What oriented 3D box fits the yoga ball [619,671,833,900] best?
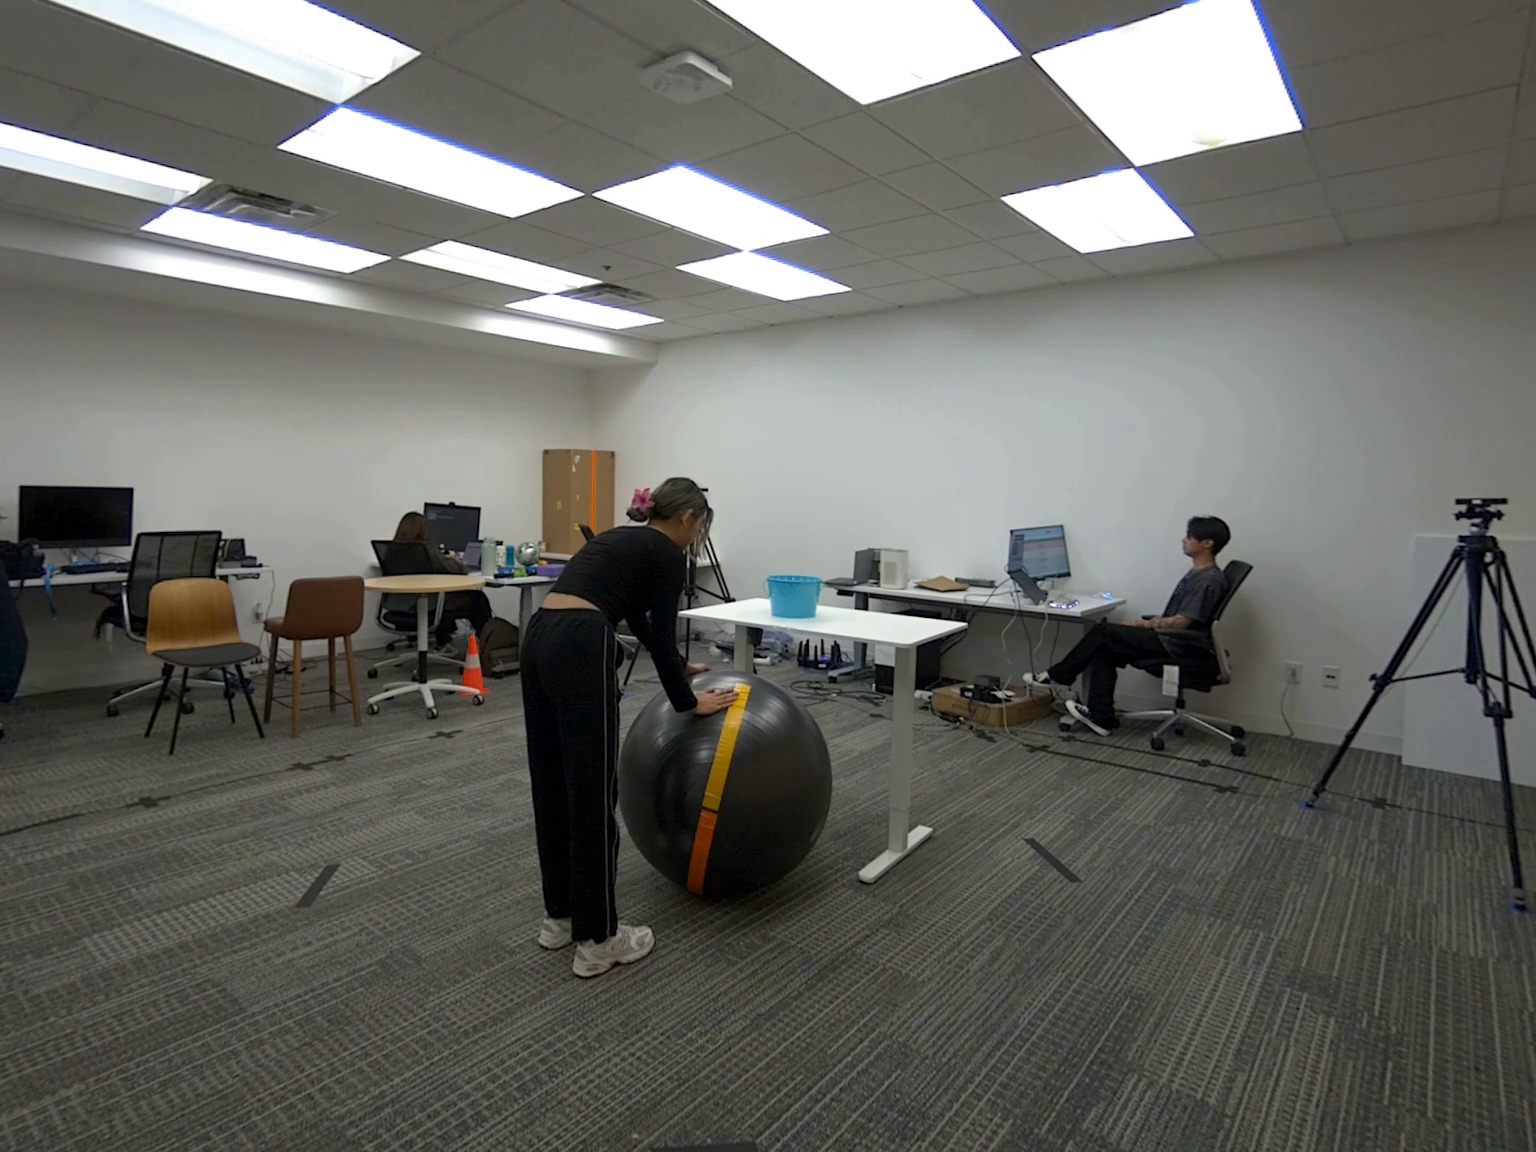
[{"bbox_3d":[-0.156,0.719,2.998,0.757,0.756,0.761,1,4,-2],"label":"yoga ball"}]
